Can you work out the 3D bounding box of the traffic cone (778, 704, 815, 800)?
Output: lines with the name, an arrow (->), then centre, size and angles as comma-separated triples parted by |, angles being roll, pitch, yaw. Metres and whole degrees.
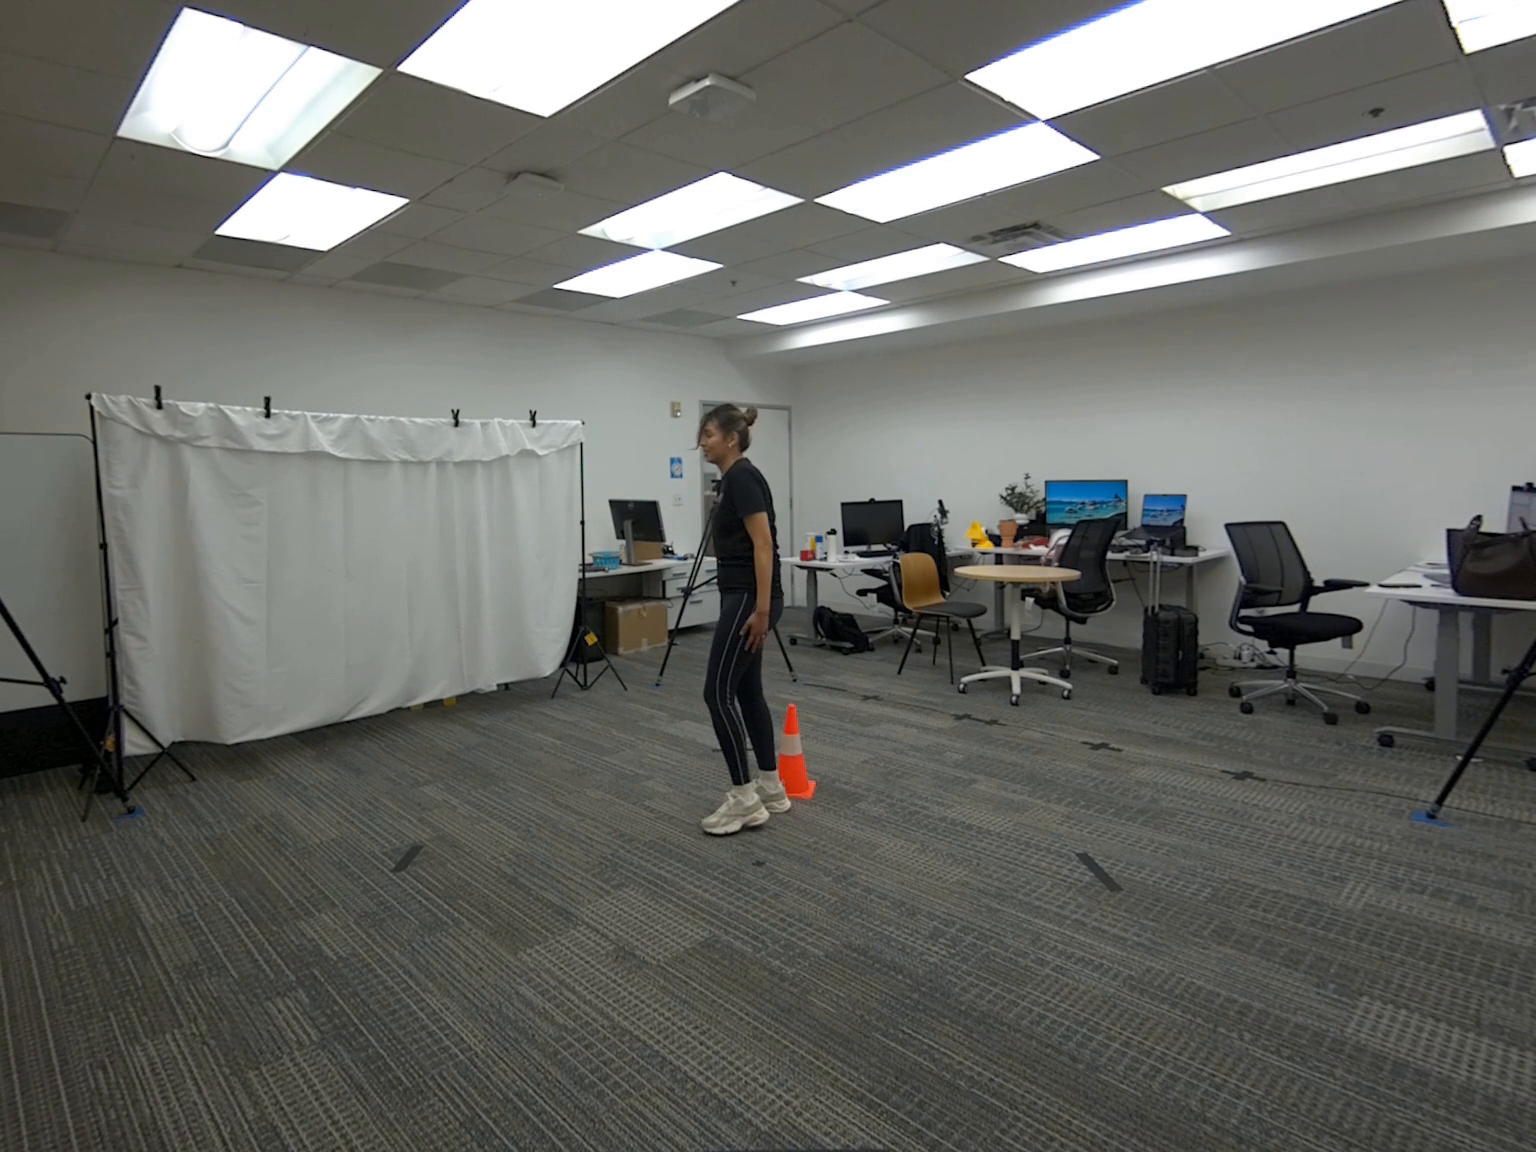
traffic cone -> 0.106, 0.776, 3.852 | 0.206, 0.383, 0.202 | 0, 3, 15
